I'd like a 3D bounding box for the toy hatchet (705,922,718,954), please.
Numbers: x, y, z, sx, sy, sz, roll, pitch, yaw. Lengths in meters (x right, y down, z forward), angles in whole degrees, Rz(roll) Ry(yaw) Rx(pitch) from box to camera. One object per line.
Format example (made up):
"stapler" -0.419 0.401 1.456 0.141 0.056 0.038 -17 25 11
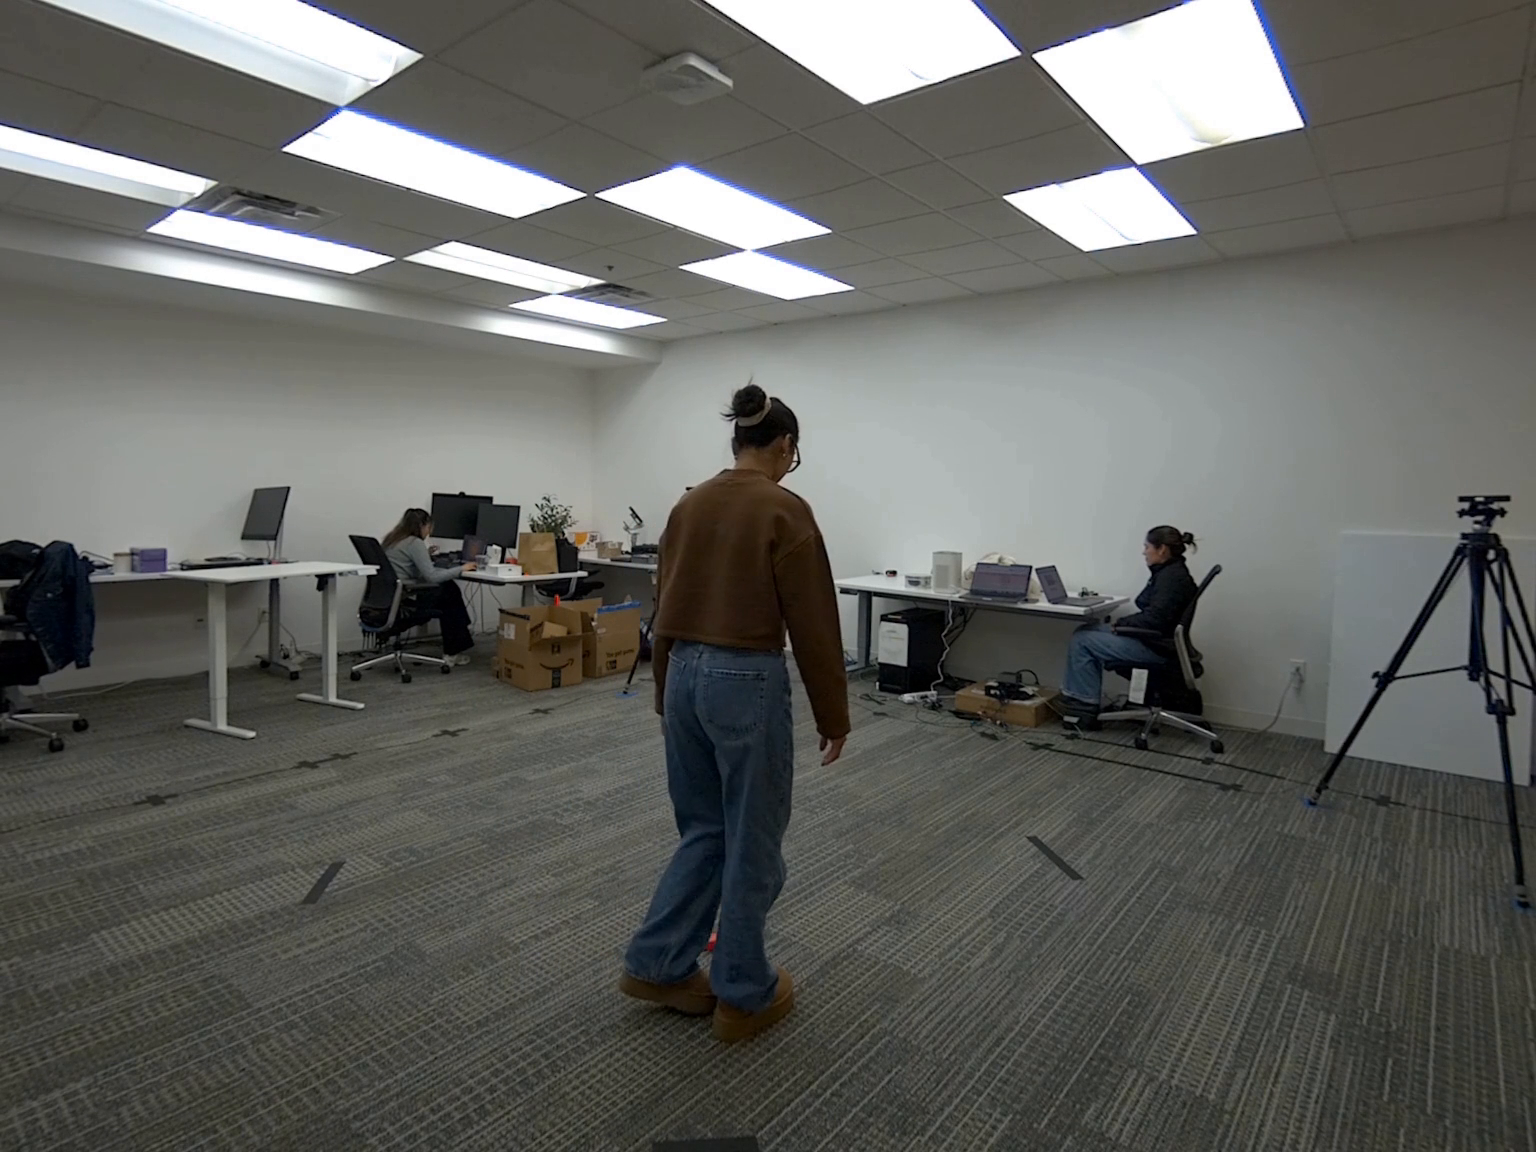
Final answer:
"toy hatchet" -0.157 1.096 2.668 0.131 0.029 0.269 1 3 2
